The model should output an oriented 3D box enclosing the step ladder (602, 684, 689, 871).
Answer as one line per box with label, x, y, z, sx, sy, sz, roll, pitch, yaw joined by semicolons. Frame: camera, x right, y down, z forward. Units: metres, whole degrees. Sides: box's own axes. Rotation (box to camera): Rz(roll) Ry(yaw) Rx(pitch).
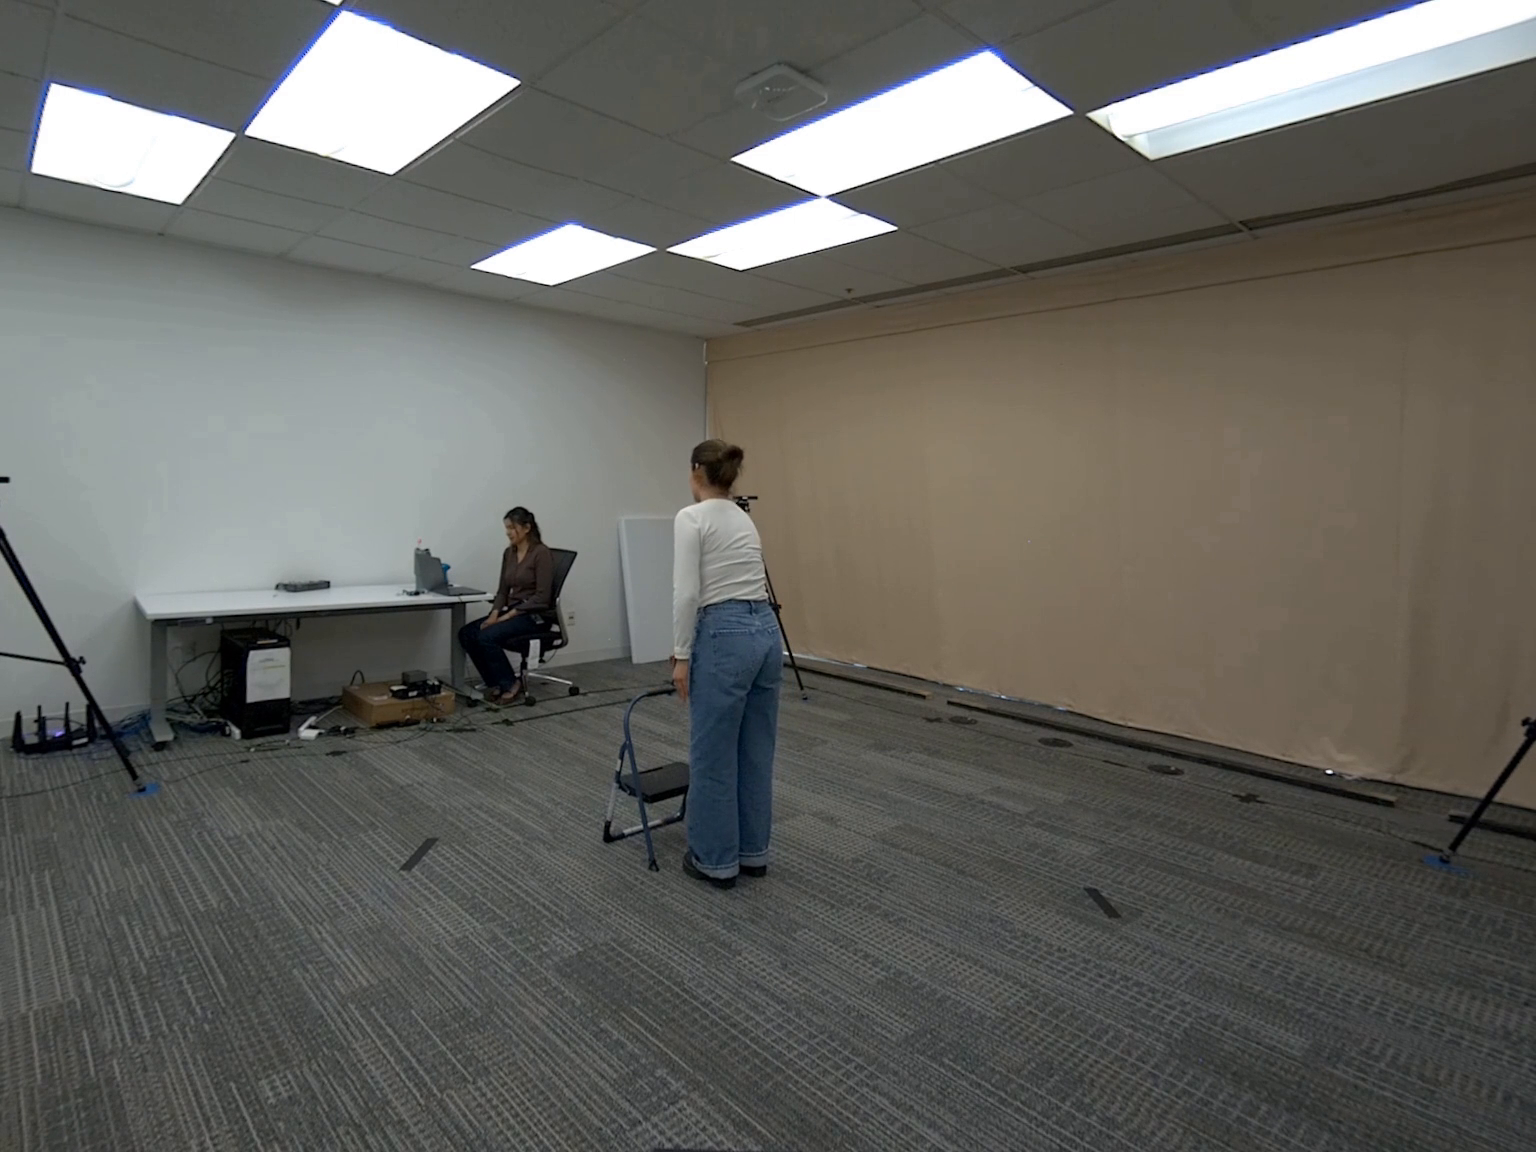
step ladder;-0.394;0.770;3.369;0.421;0.604;0.358;-2;6;-45
